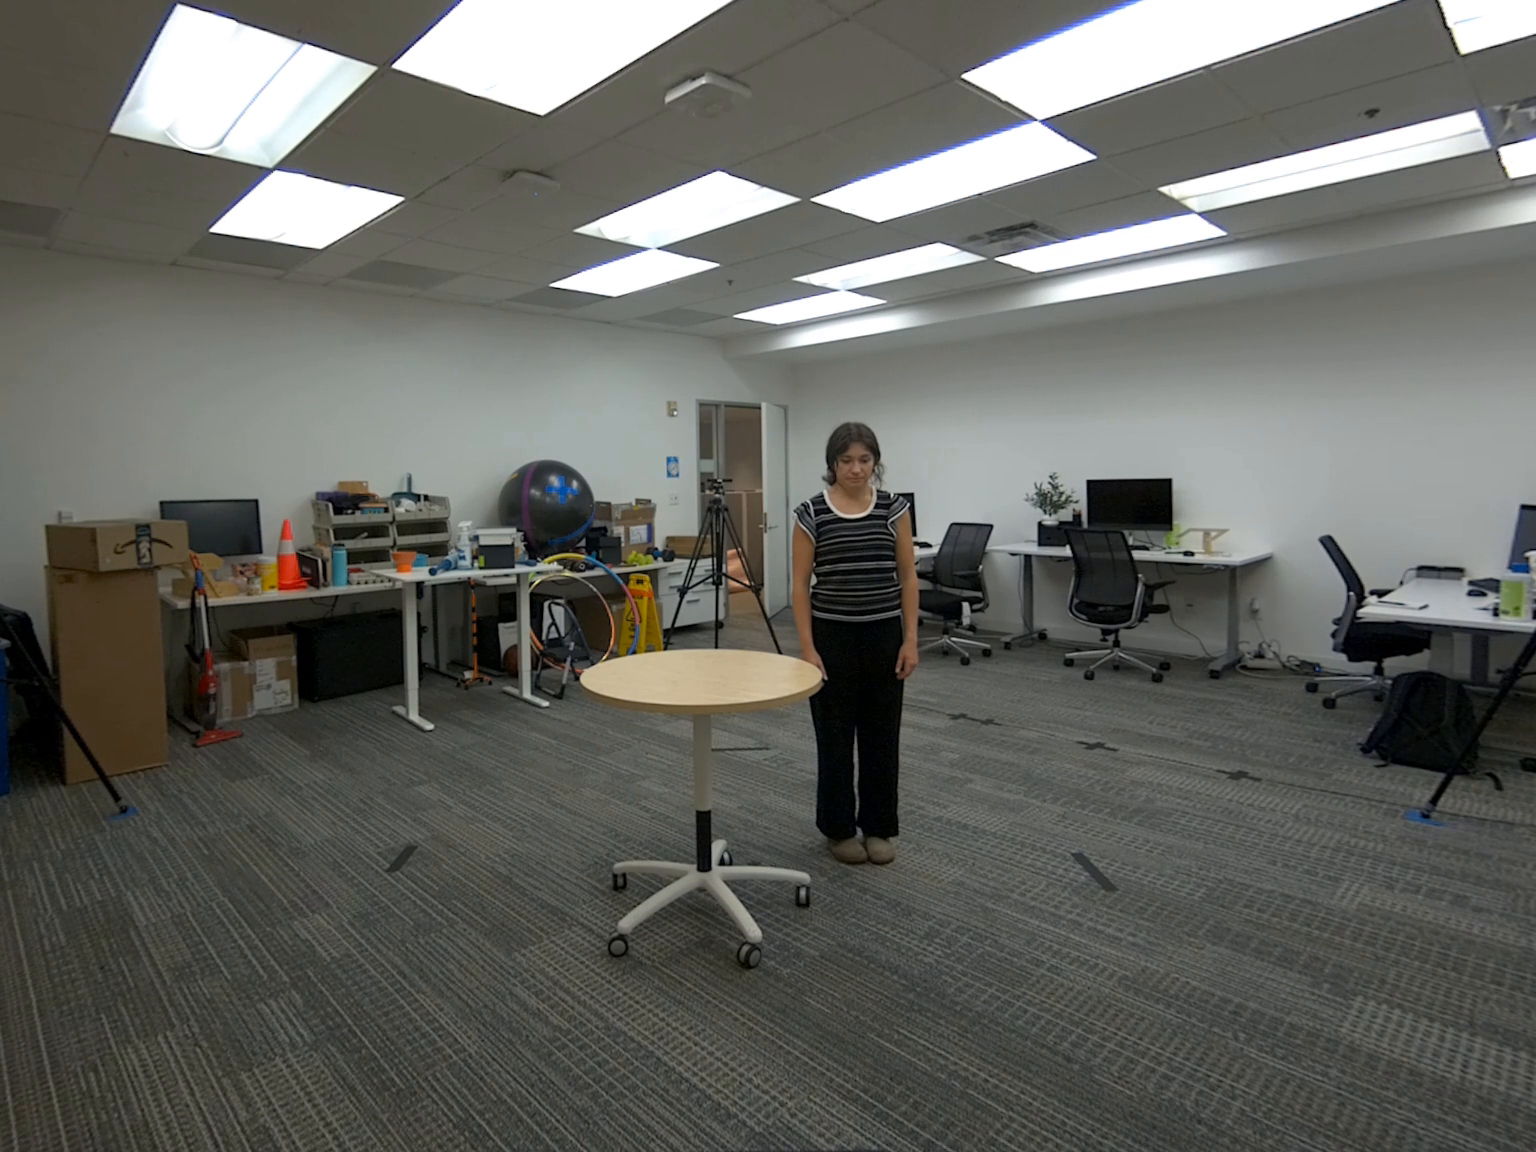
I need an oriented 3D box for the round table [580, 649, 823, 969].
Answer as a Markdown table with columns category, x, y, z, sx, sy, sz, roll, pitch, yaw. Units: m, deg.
| category | x | y | z | sx | sy | sz | roll | pitch | yaw |
| --- | --- | --- | --- | --- | --- | --- | --- | --- | --- |
| round table | -0.213 | 0.703 | 2.740 | 0.763 | 0.791 | 0.768 | -1 | 5 | -2 |
